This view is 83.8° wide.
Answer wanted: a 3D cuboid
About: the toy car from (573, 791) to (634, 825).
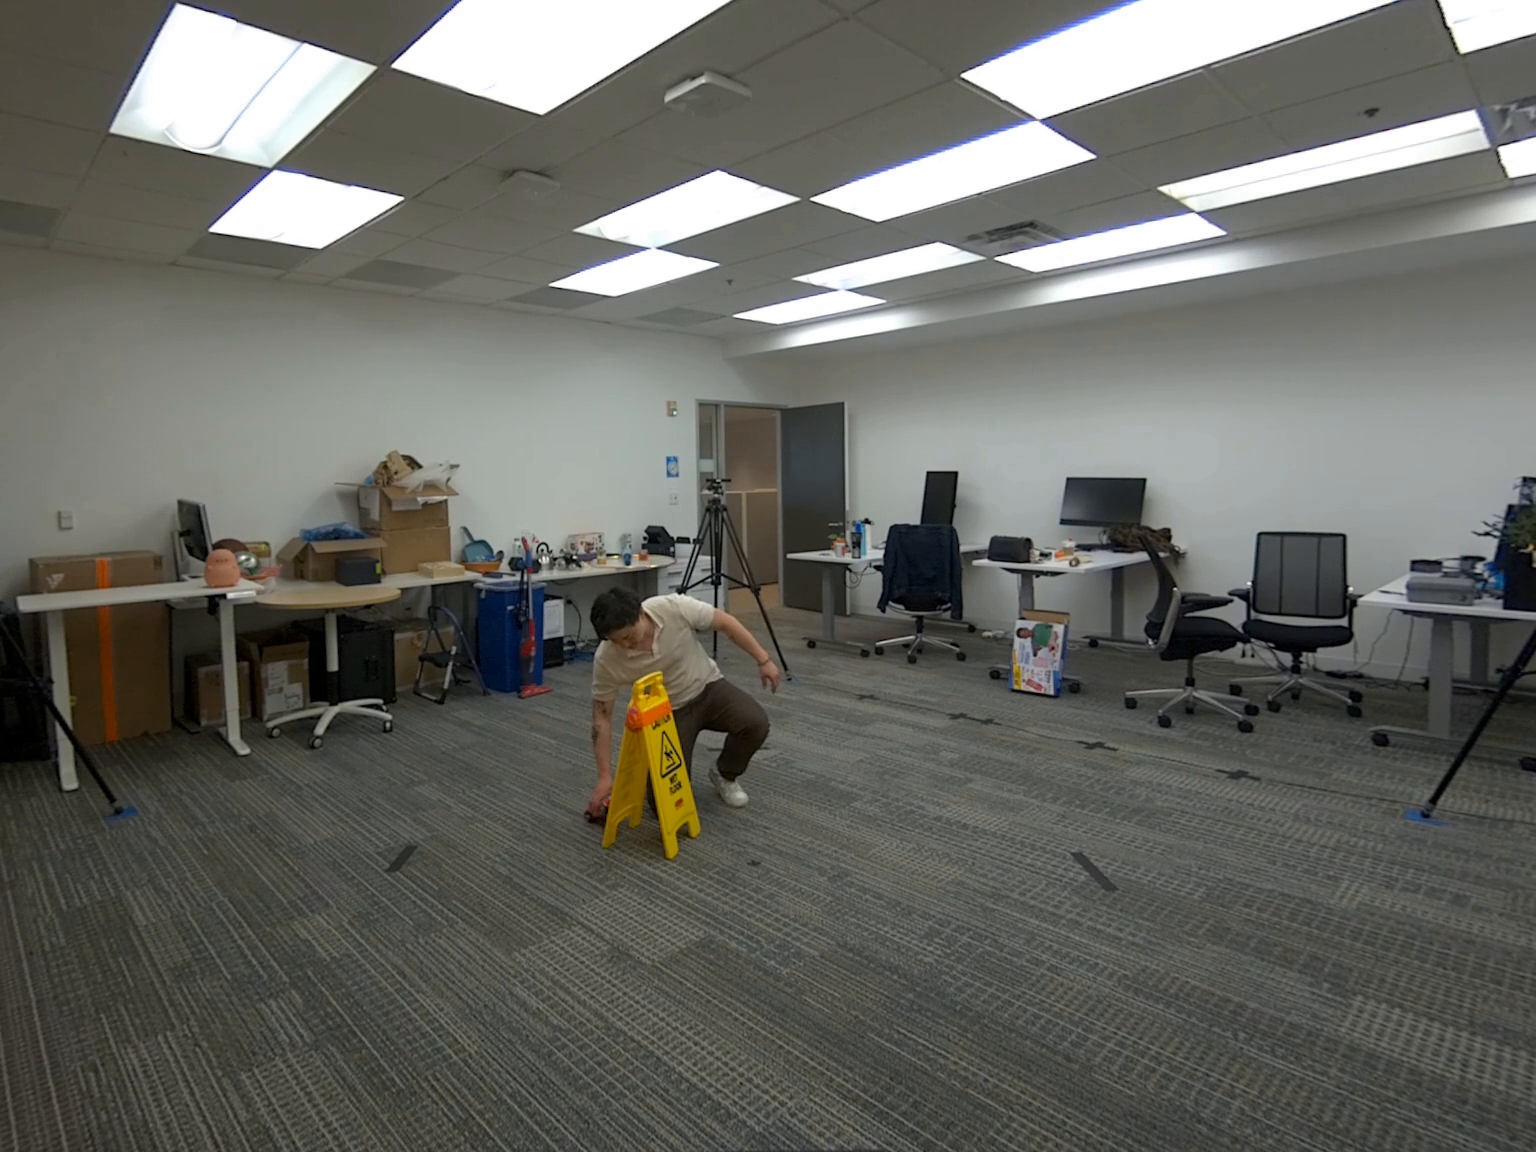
[{"bbox_3d":[-0.683,0.949,3.524,0.127,0.083,0.259,-16,-1,-38],"label":"toy car"}]
